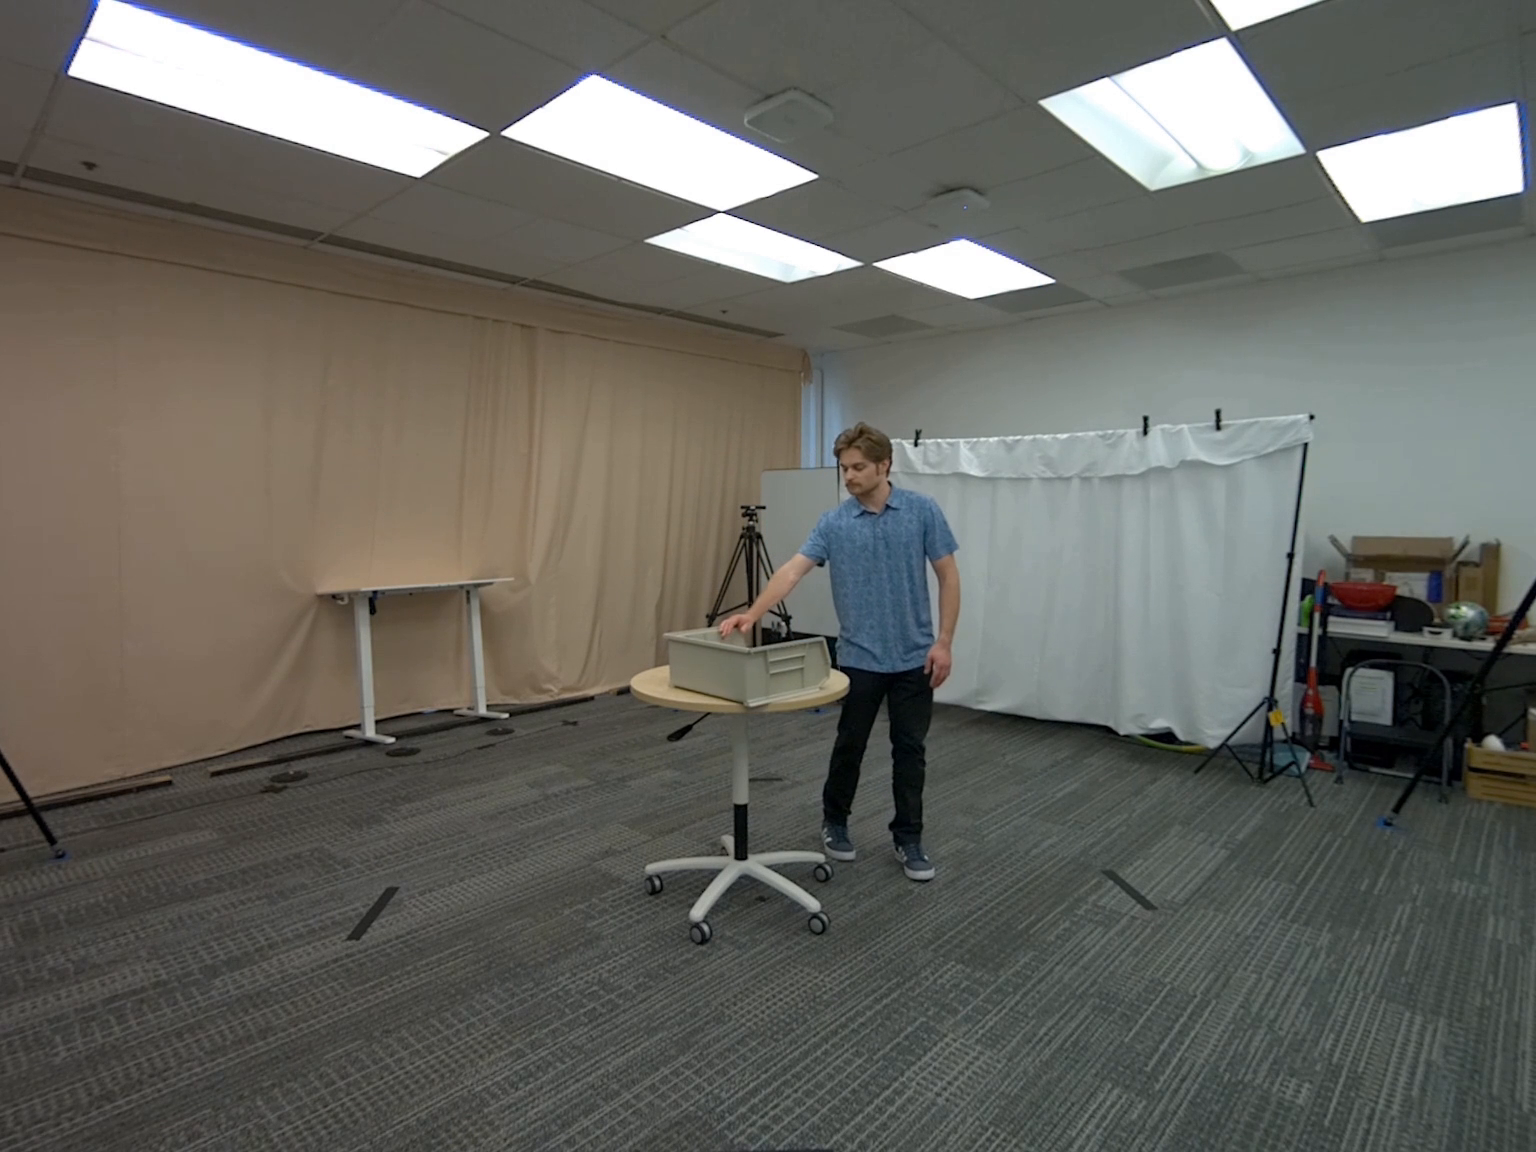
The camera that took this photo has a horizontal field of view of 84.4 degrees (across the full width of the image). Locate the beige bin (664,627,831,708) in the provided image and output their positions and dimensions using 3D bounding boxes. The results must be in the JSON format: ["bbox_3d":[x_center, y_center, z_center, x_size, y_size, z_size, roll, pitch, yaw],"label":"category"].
[{"bbox_3d":[-0.070,0.288,2.800,0.366,0.188,0.436,-6,7,-42],"label":"beige bin"}]
